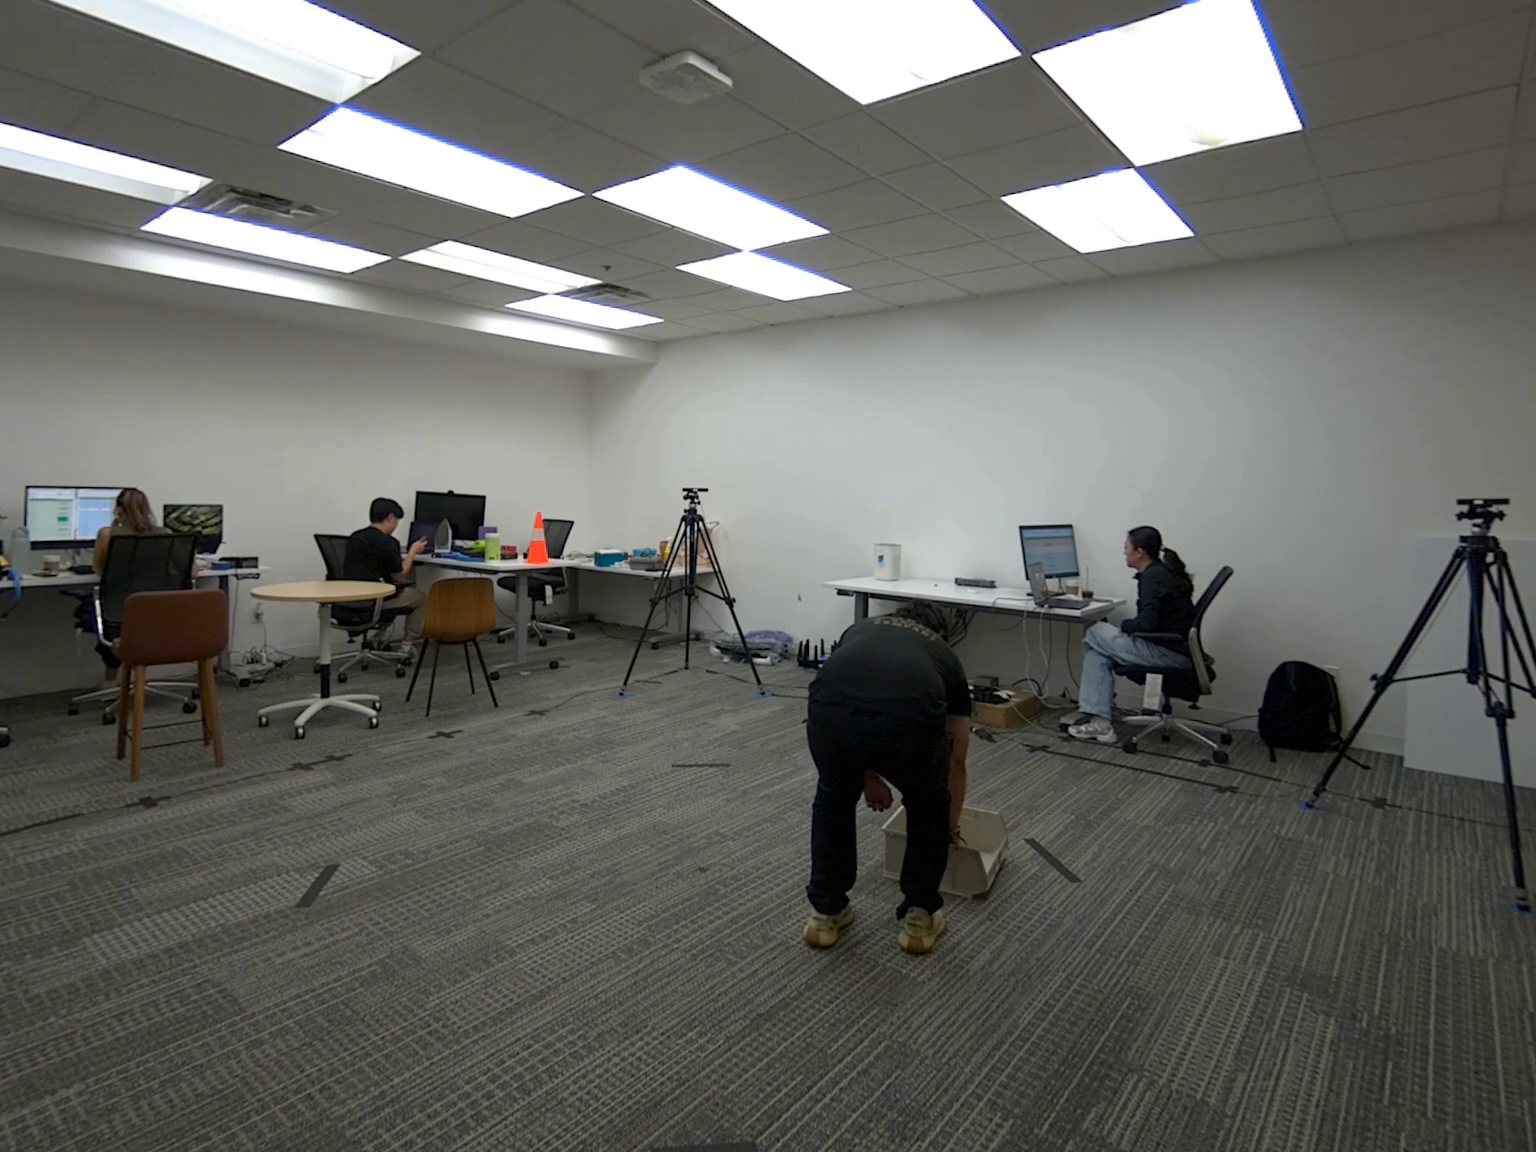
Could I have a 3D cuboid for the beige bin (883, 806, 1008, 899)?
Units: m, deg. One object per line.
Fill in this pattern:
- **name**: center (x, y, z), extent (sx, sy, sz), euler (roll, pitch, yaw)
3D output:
- **beige bin**: center (0.658, 0.992, 3.169), extent (0.388, 0.188, 0.412), euler (3, 6, 27)
